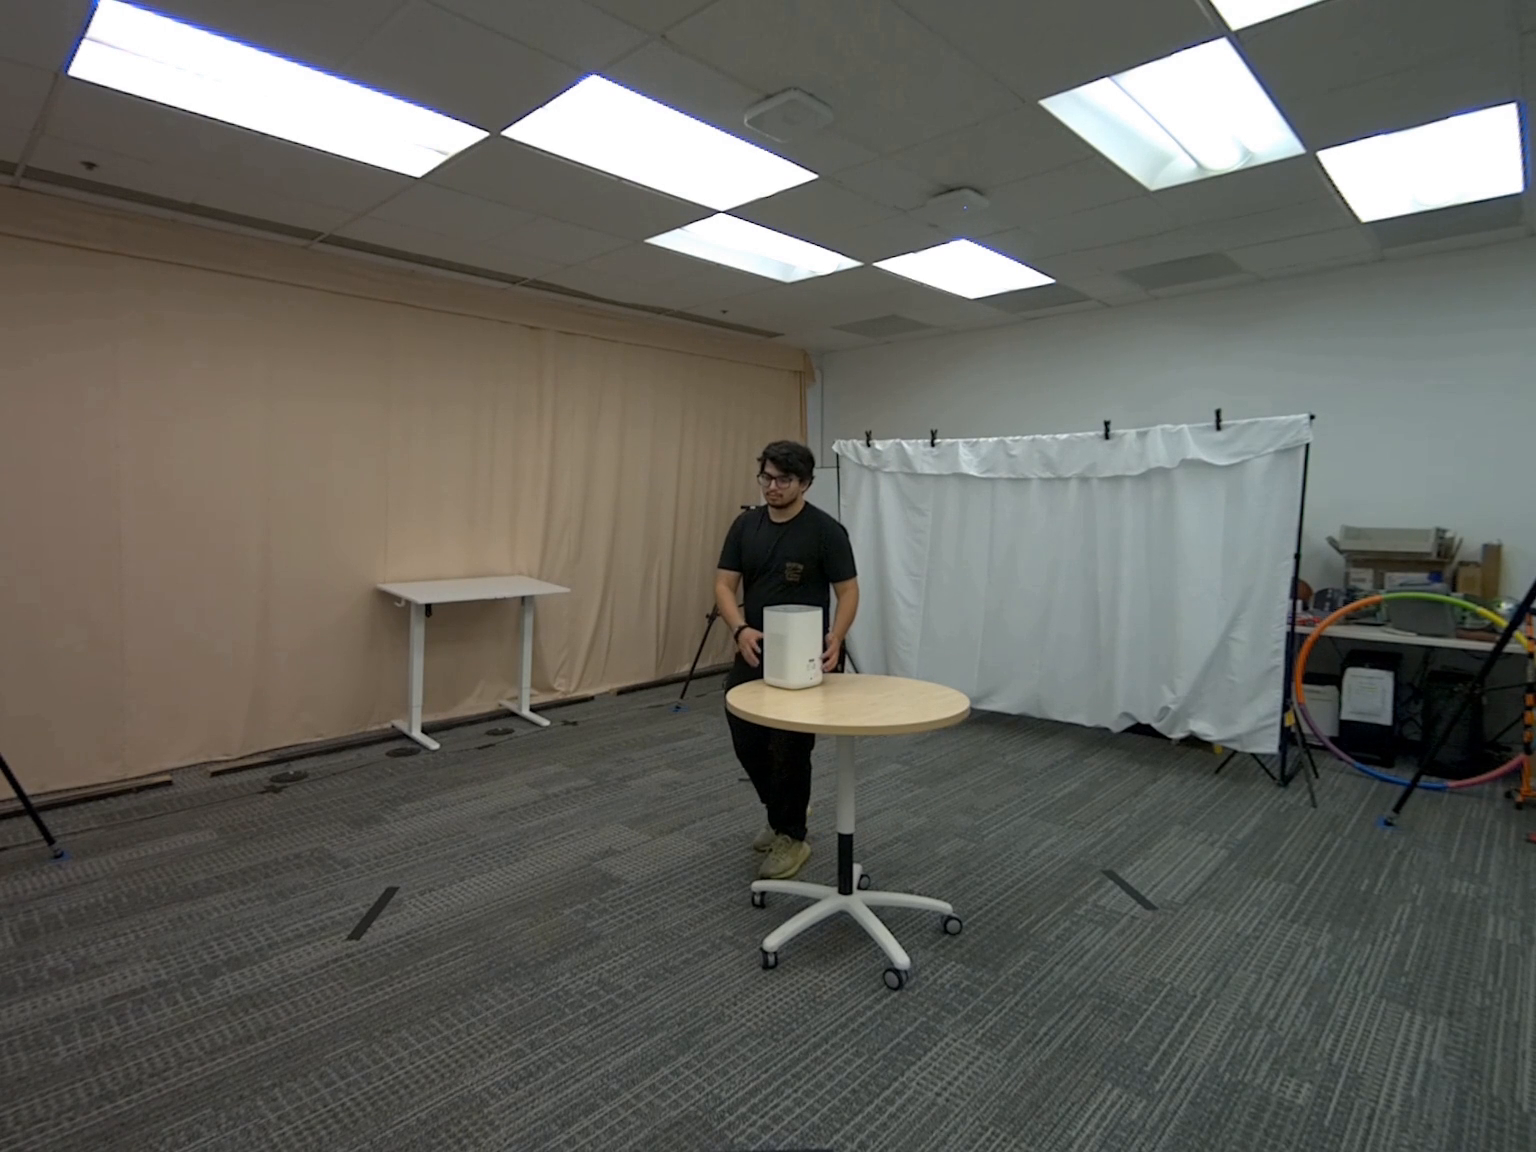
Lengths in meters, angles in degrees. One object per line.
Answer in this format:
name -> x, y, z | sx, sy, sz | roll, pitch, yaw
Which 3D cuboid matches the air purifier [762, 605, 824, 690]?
air purifier -> 0.088, 0.237, 2.870 | 0.166, 0.265, 0.177 | -4, 4, -43
